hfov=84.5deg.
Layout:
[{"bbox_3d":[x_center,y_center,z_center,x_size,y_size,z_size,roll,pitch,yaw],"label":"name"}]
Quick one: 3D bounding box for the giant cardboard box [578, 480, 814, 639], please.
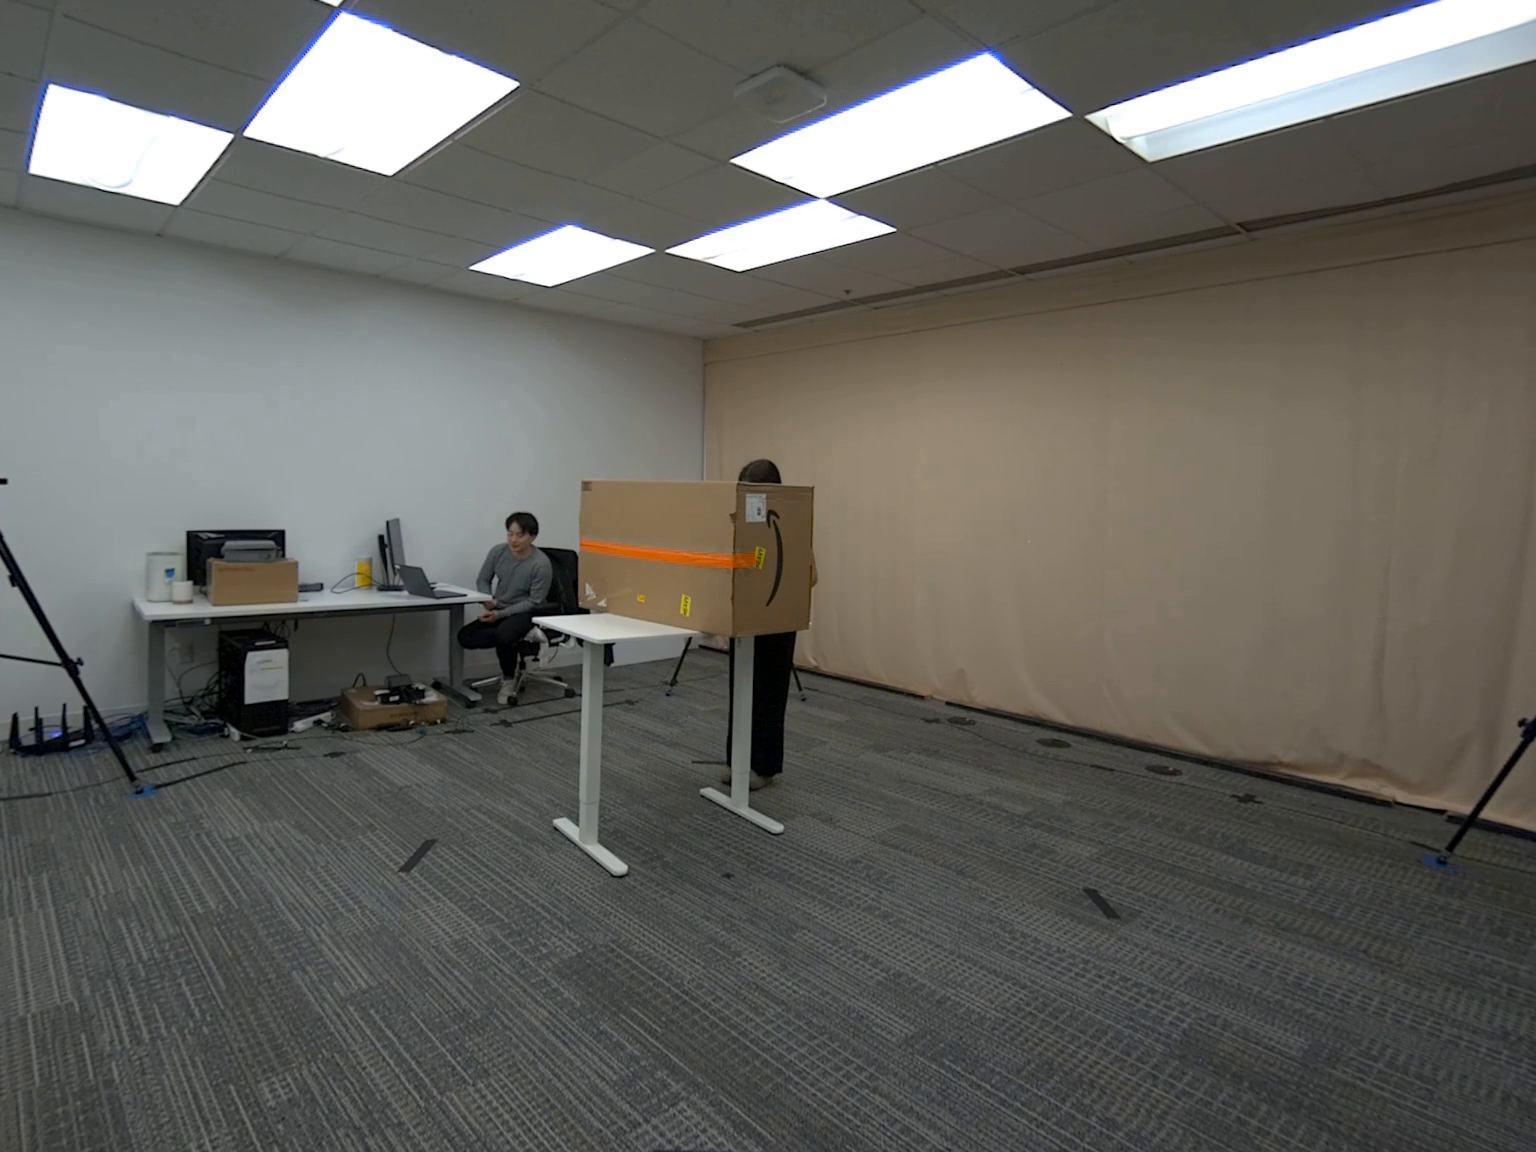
[{"bbox_3d":[-0.347,-0.109,3.567,0.416,0.576,1.052,-2,6,-44],"label":"giant cardboard box"}]
